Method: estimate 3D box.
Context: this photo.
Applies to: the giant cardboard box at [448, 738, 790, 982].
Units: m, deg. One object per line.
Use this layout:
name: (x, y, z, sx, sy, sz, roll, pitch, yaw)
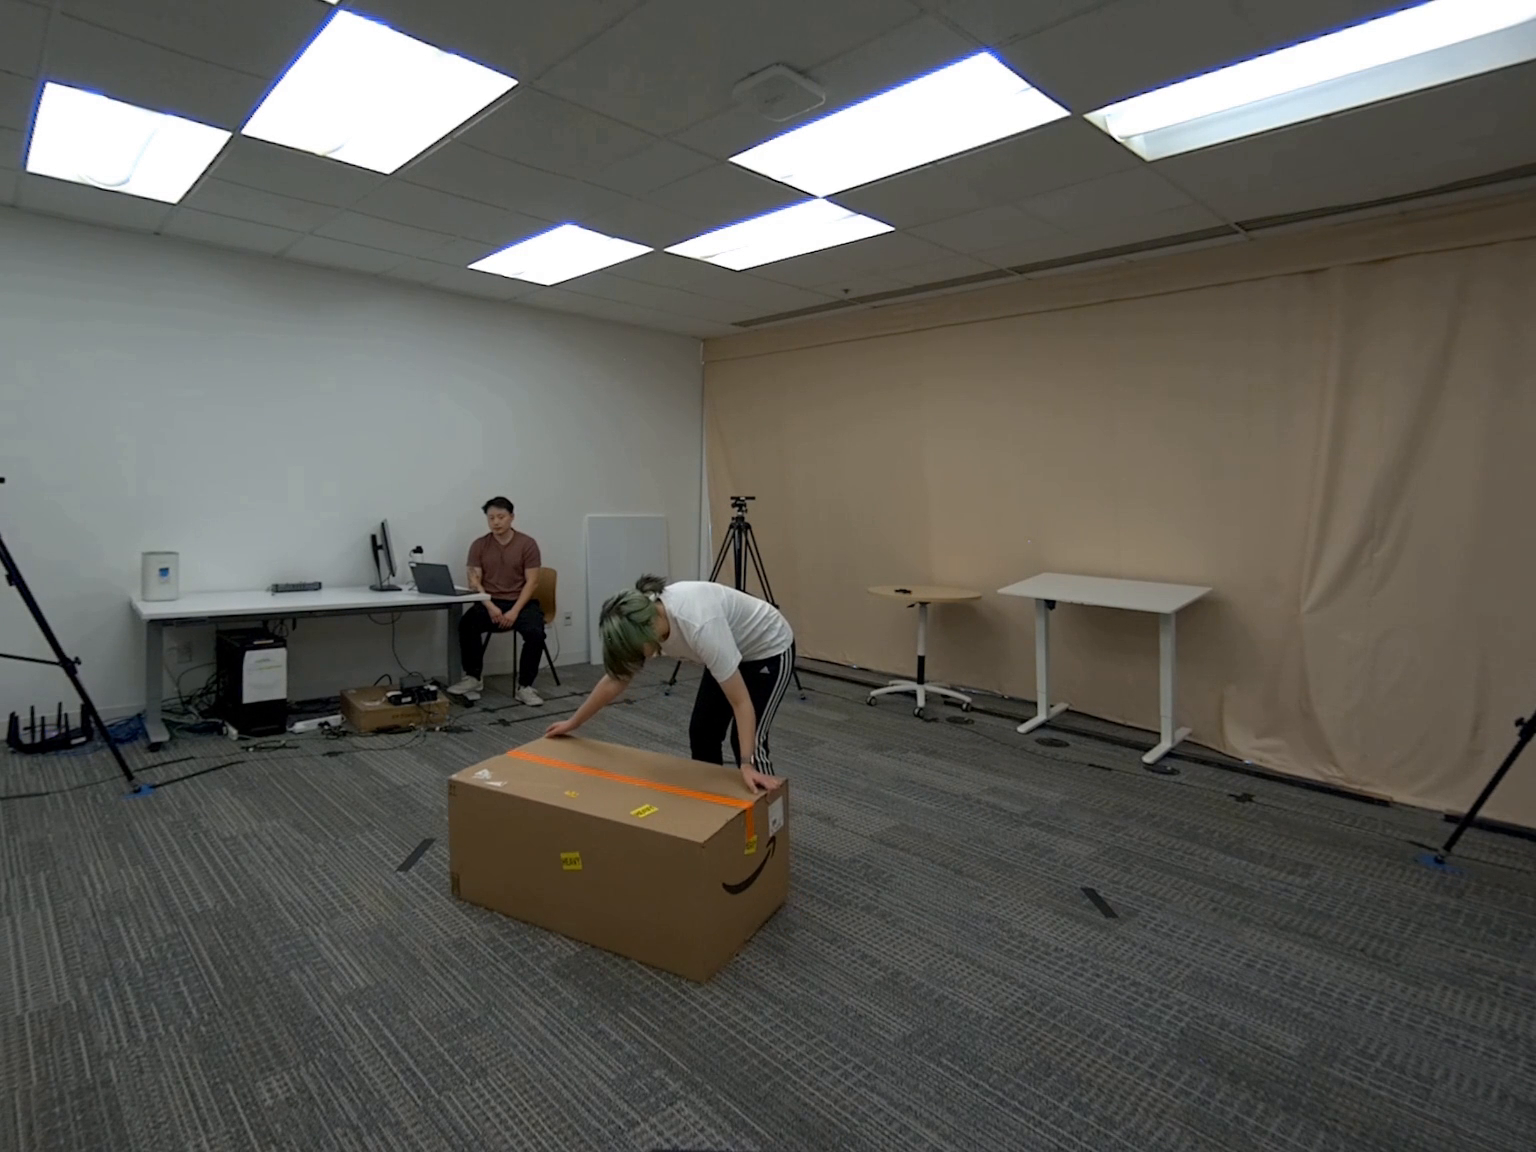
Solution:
giant cardboard box: (-0.514, 0.893, 2.872, 1.047, 0.424, 0.568, 4, 7, 28)
